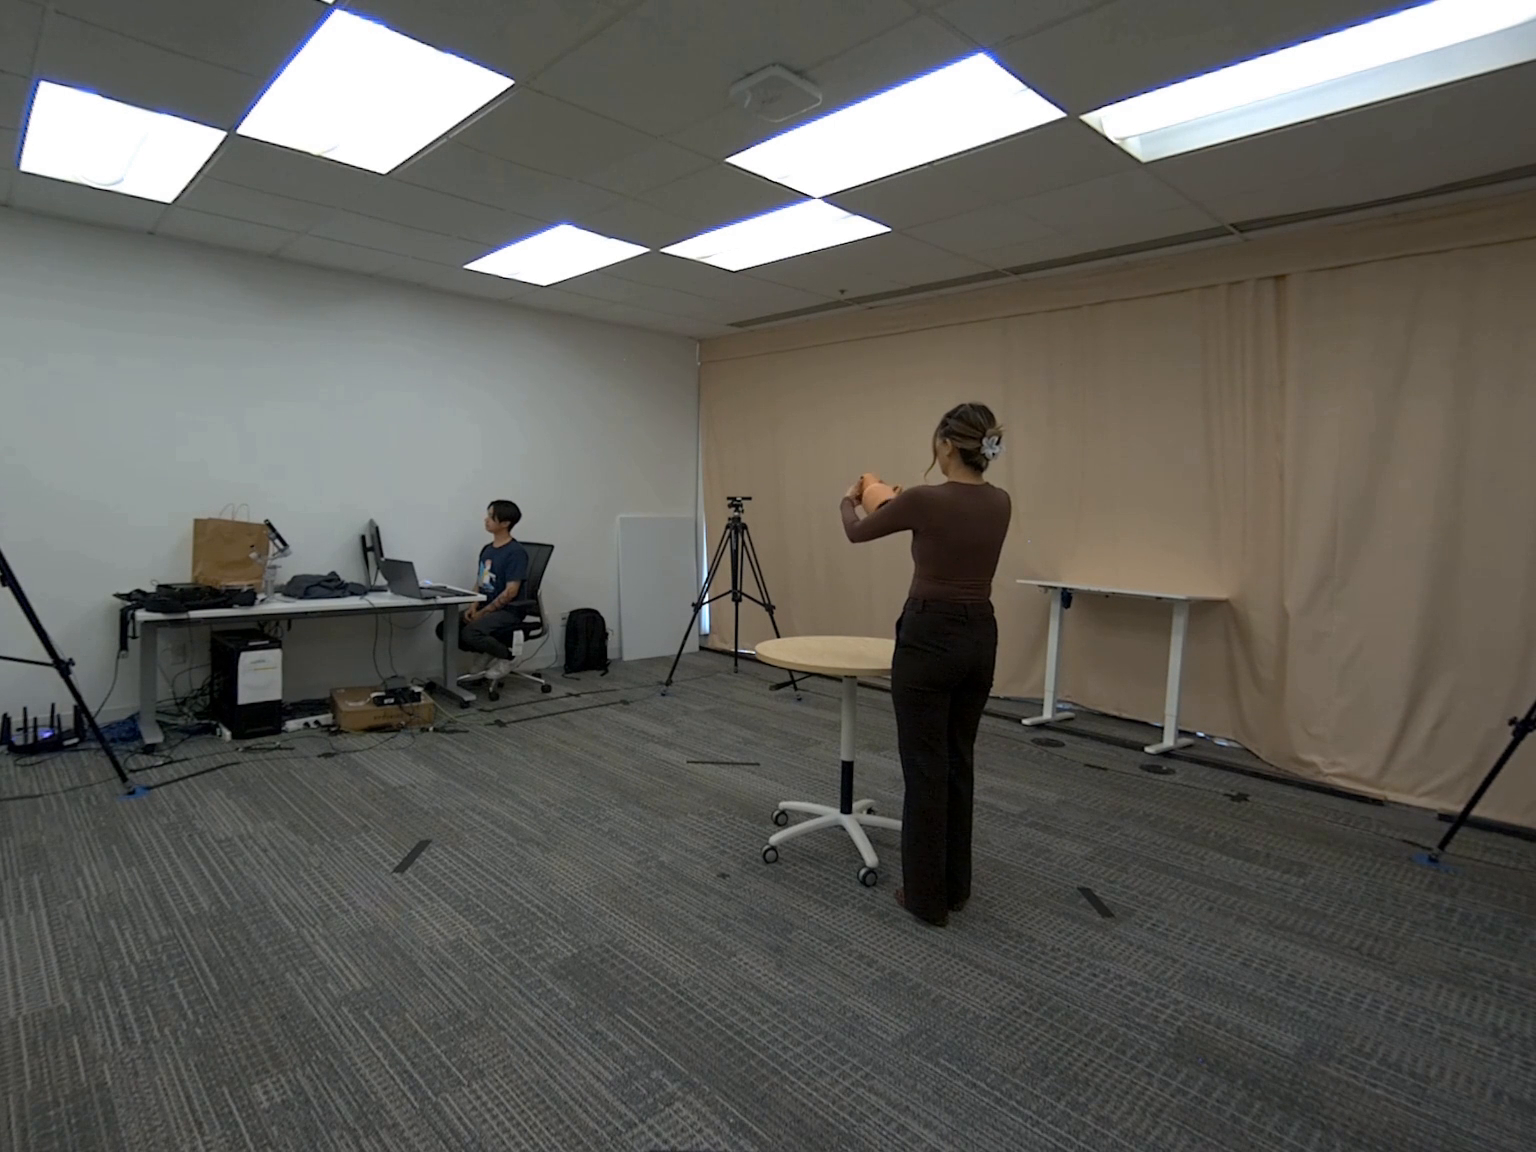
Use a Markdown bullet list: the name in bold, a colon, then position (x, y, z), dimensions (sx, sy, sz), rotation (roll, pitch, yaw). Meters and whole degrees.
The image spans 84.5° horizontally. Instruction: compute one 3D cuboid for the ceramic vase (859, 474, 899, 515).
- **ceramic vase**: position (0.411, -0.295, 3.170), dimensions (0.158, 0.131, 0.226), rotation (-21, 38, -3)
